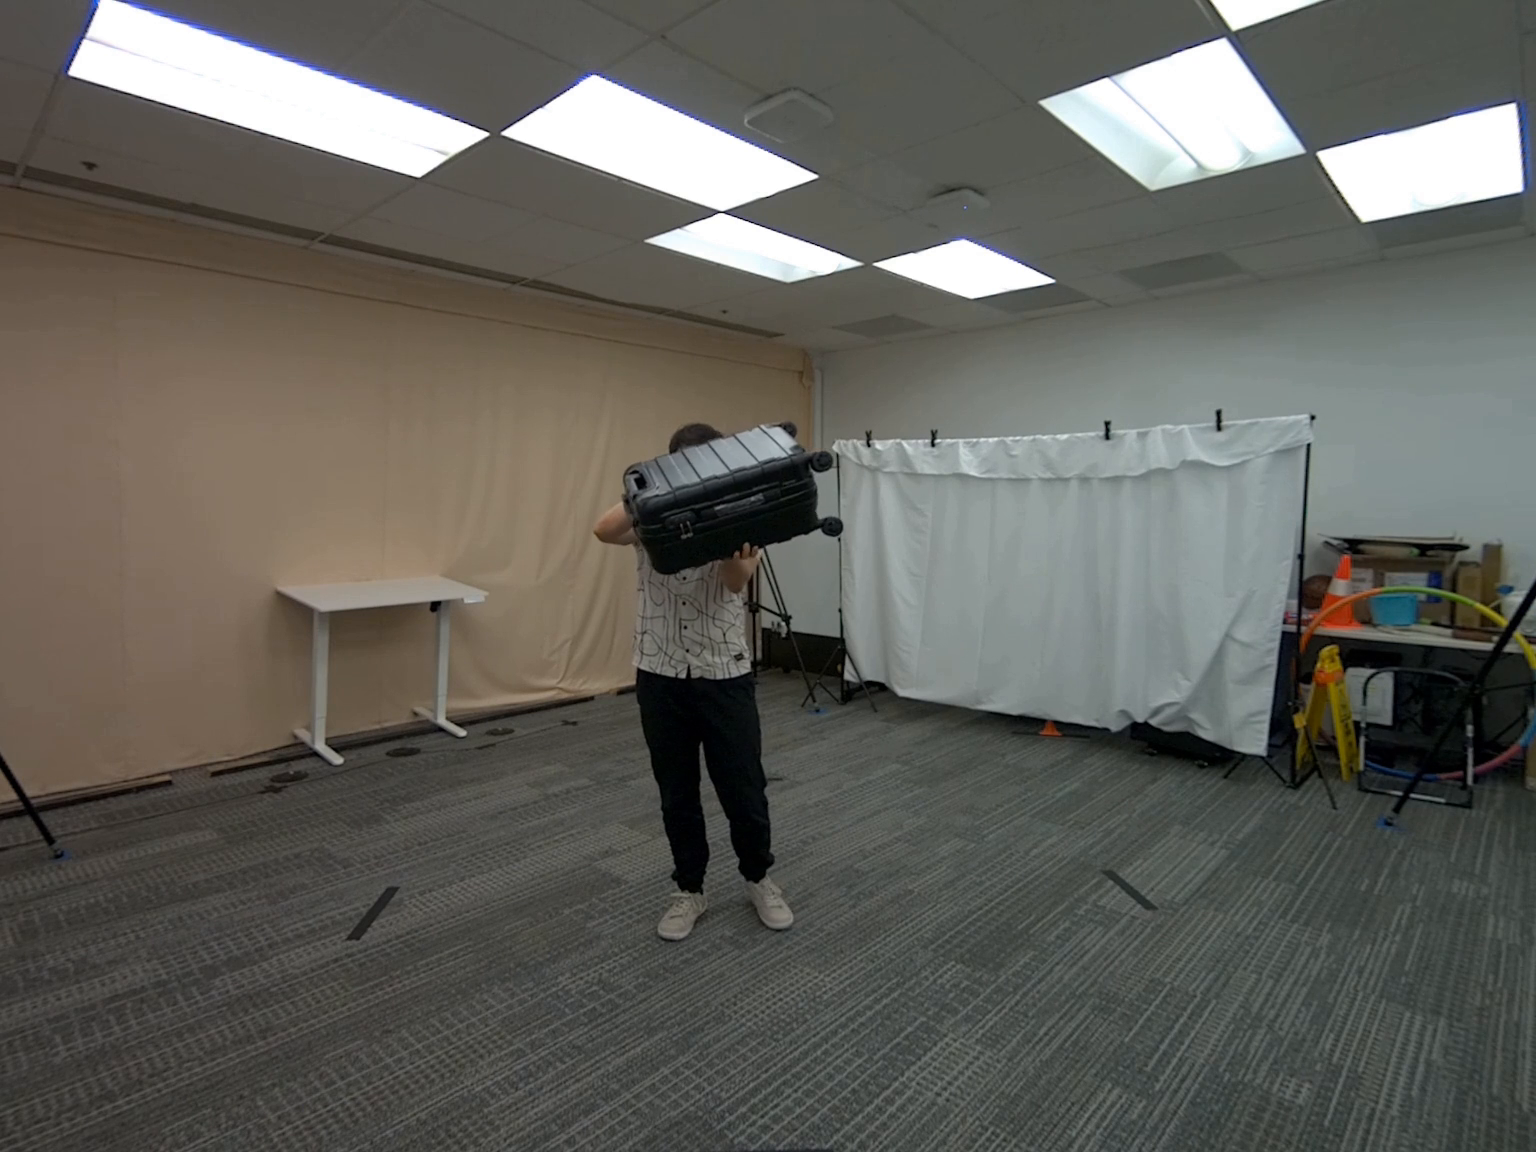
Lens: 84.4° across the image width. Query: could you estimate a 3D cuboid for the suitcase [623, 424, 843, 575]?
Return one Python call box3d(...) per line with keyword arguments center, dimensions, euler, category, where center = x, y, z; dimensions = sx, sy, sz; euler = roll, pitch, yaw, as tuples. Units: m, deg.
box3d(center=(-0.117, -0.220, 2.359), dimensions=(0.545, 0.243, 0.386), euler=(-16, 30, -8), category="suitcase")
